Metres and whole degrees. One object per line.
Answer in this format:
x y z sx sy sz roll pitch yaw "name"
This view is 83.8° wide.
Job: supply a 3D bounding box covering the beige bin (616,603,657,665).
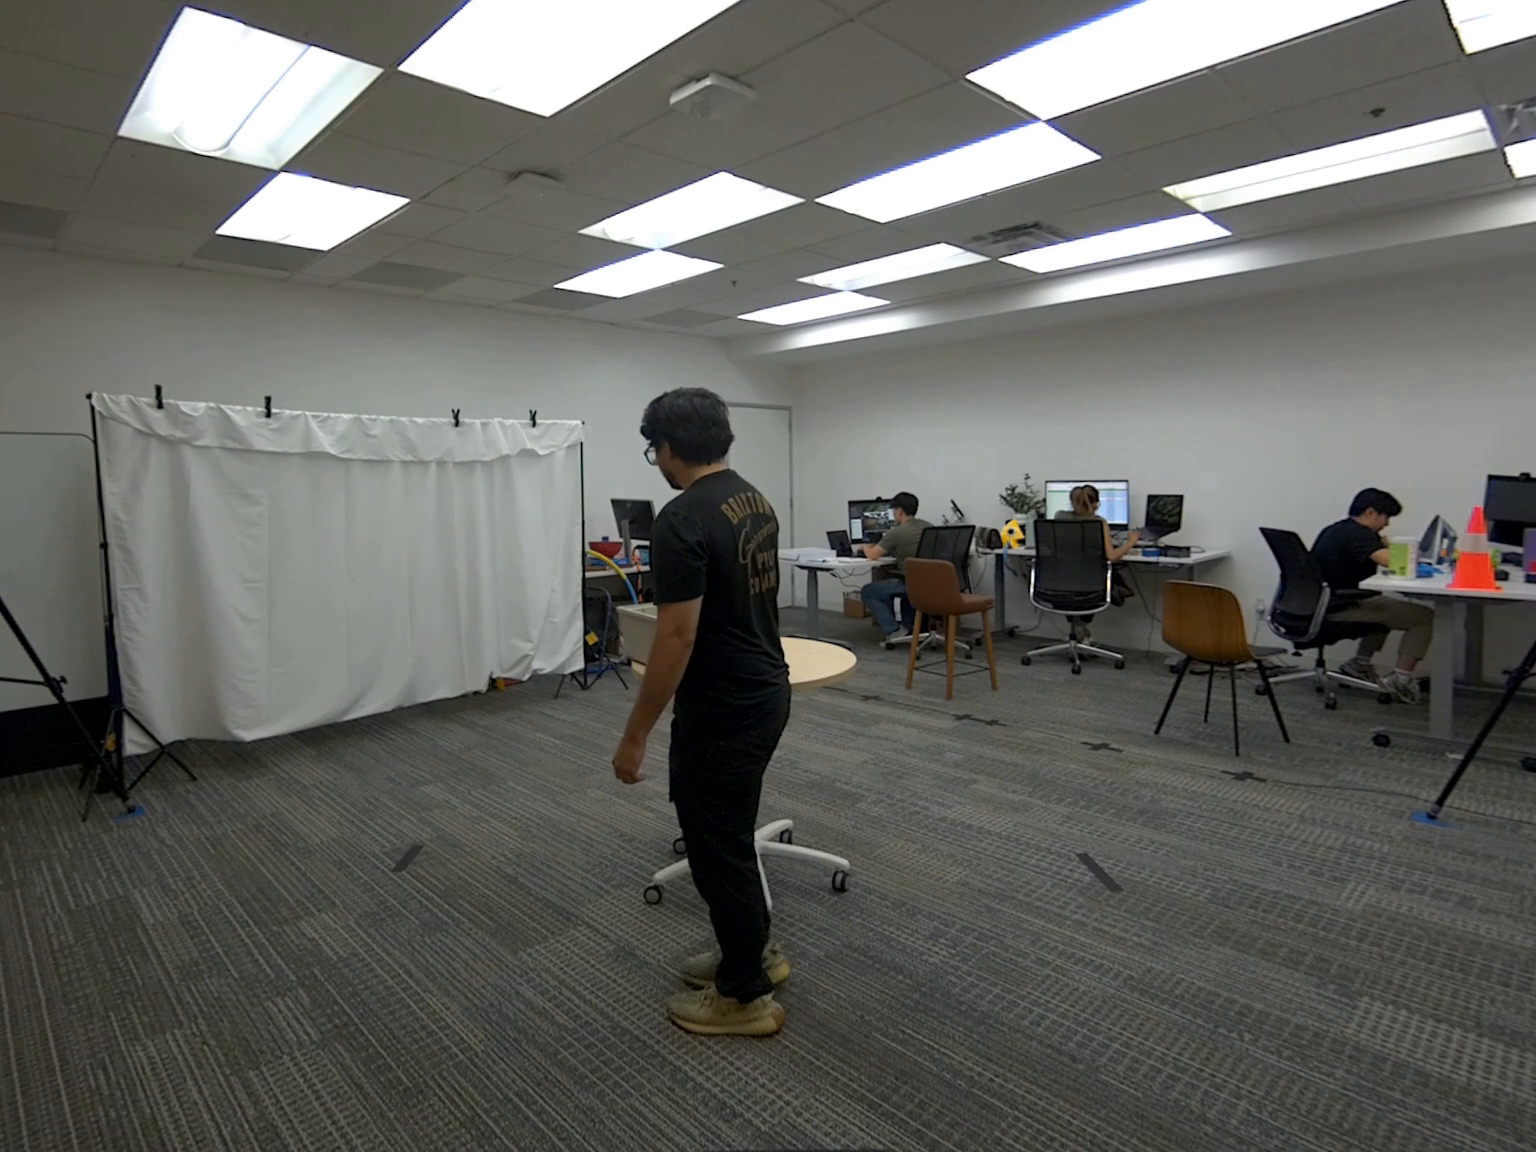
-0.242 0.202 2.916 0.368 0.188 0.435 -7 9 -35 "beige bin"
